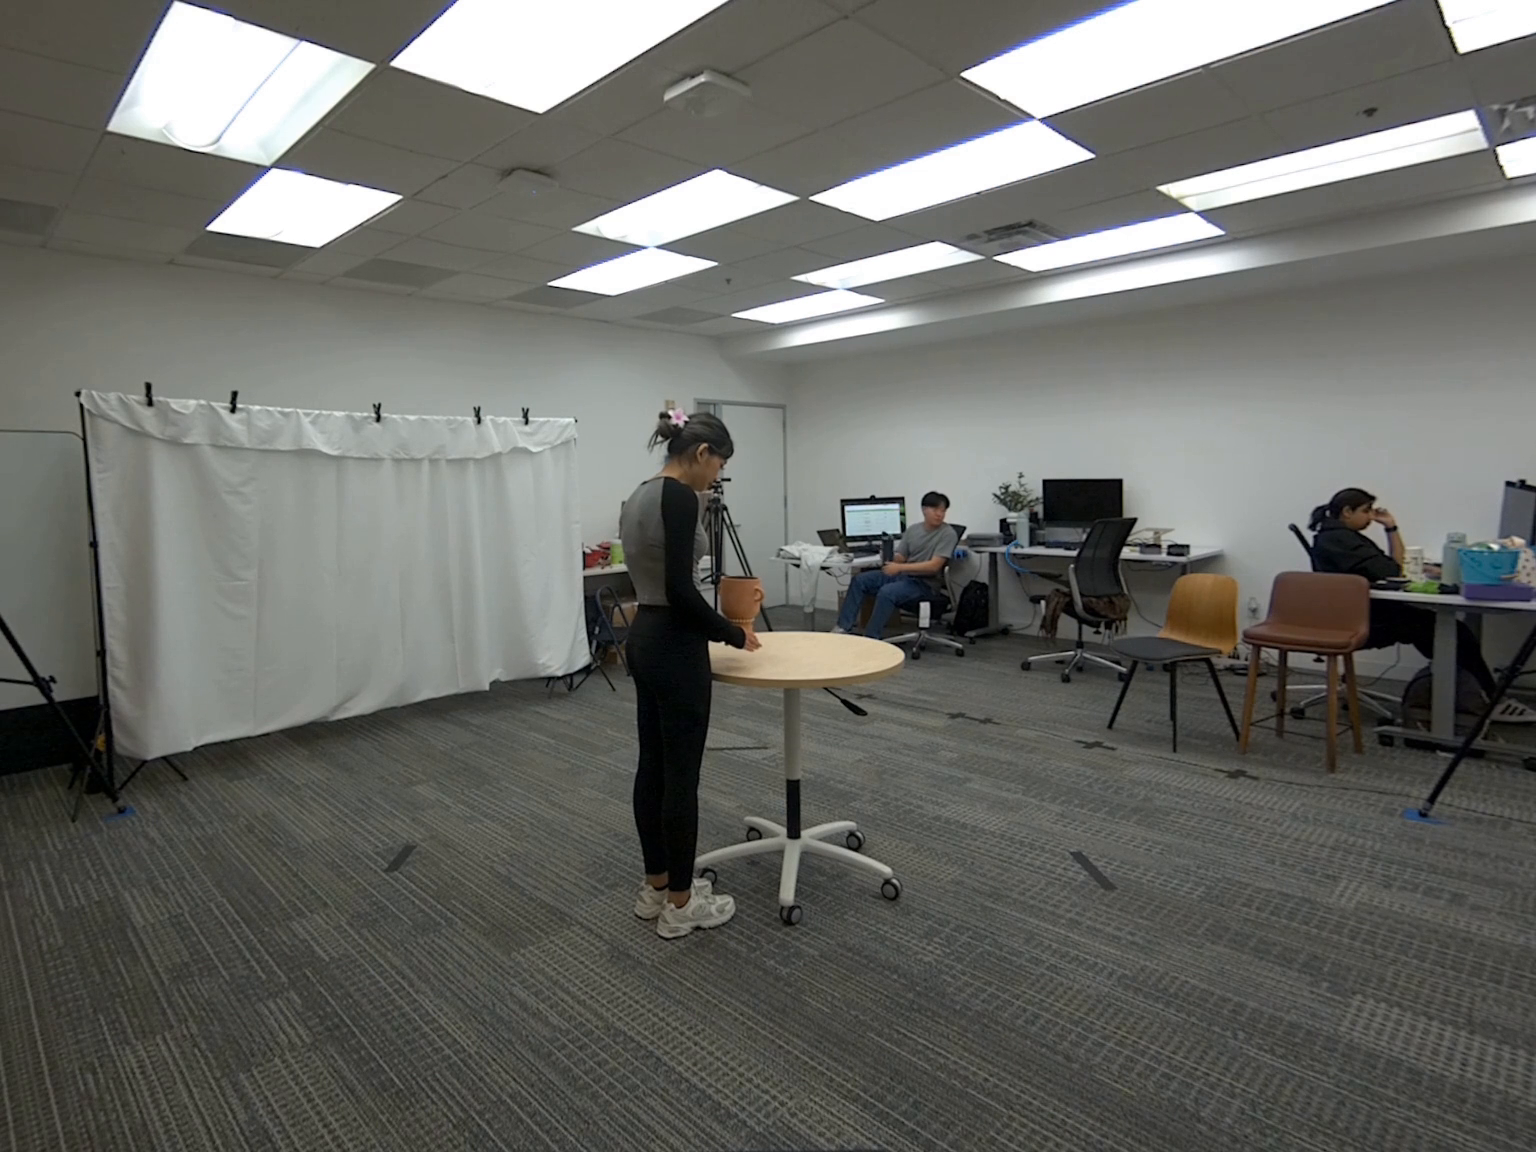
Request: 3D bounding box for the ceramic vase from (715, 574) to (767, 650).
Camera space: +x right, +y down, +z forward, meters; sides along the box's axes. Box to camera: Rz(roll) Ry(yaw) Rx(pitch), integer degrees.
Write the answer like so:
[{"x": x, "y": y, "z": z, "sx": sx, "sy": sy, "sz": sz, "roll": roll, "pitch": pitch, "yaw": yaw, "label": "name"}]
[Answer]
[{"x": -0.097, "y": 0.115, "z": 2.829, "sx": 0.133, "sy": 0.219, "sz": 0.161, "roll": 3, "pitch": 4, "yaw": -11, "label": "ceramic vase"}]
